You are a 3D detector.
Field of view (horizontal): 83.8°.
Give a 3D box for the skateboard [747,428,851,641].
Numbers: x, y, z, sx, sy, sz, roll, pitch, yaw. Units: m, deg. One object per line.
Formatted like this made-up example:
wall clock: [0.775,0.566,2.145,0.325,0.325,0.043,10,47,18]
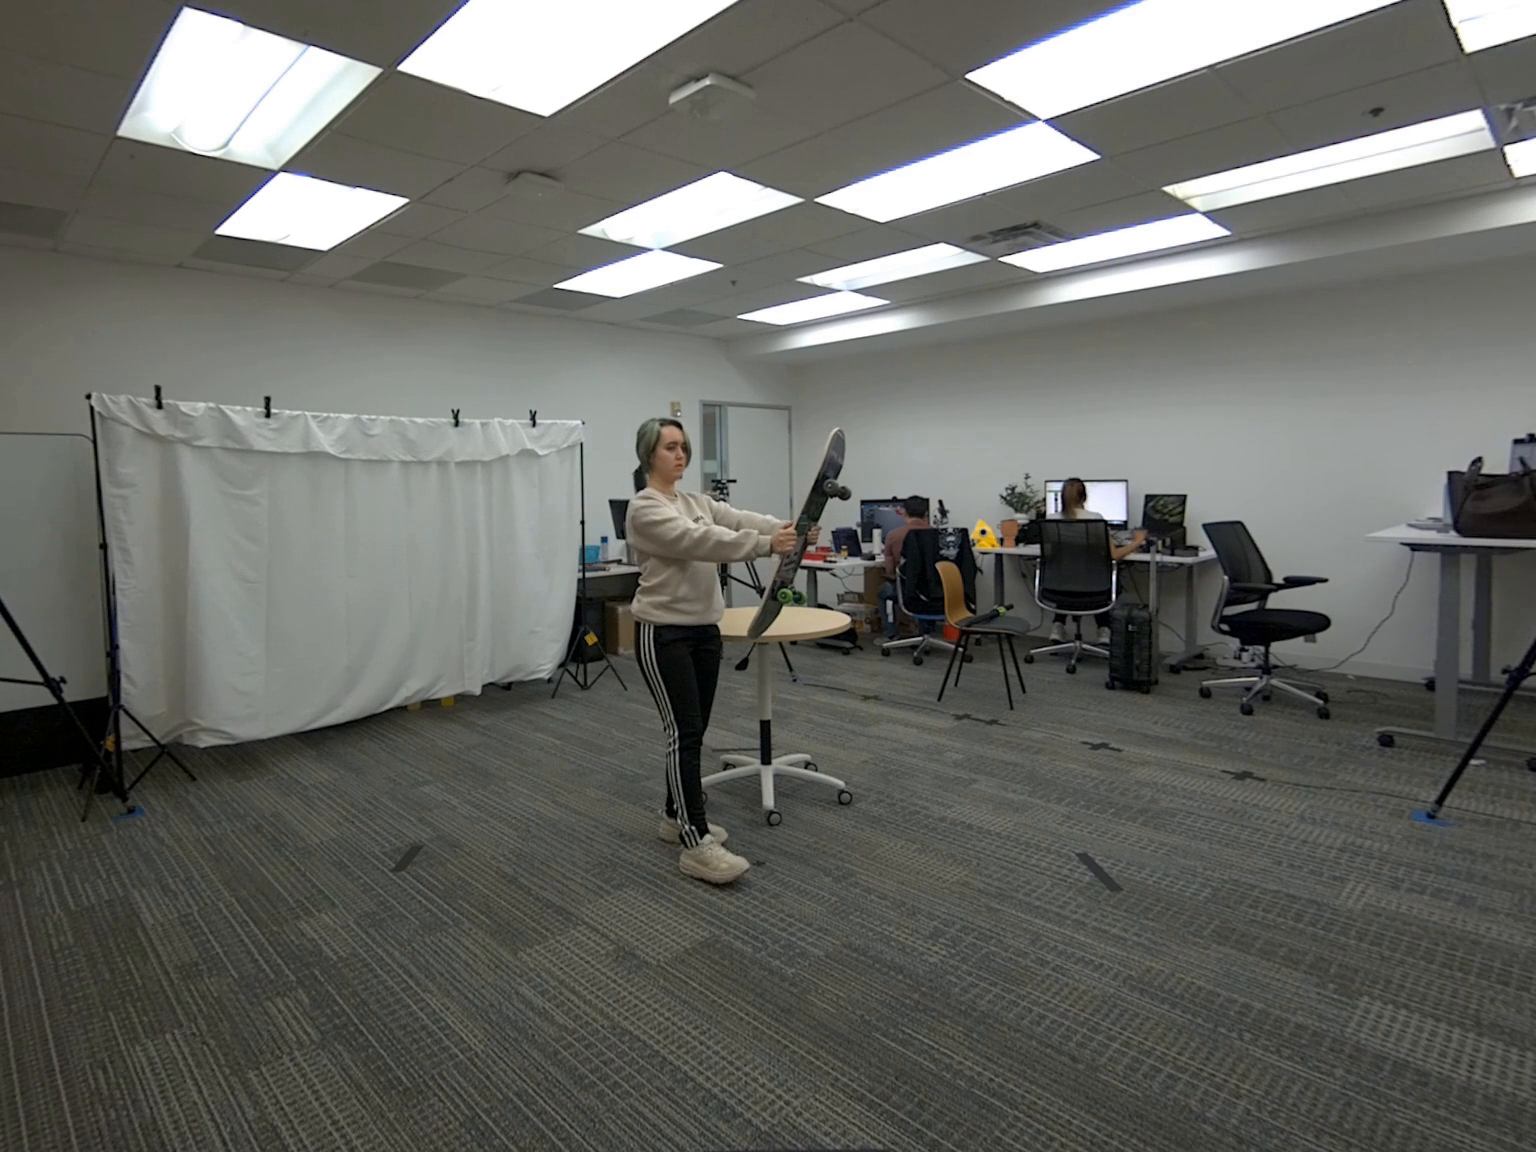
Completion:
skateboard: [0.138,-0.116,2.935,0.113,0.784,0.188,24,3,24]
